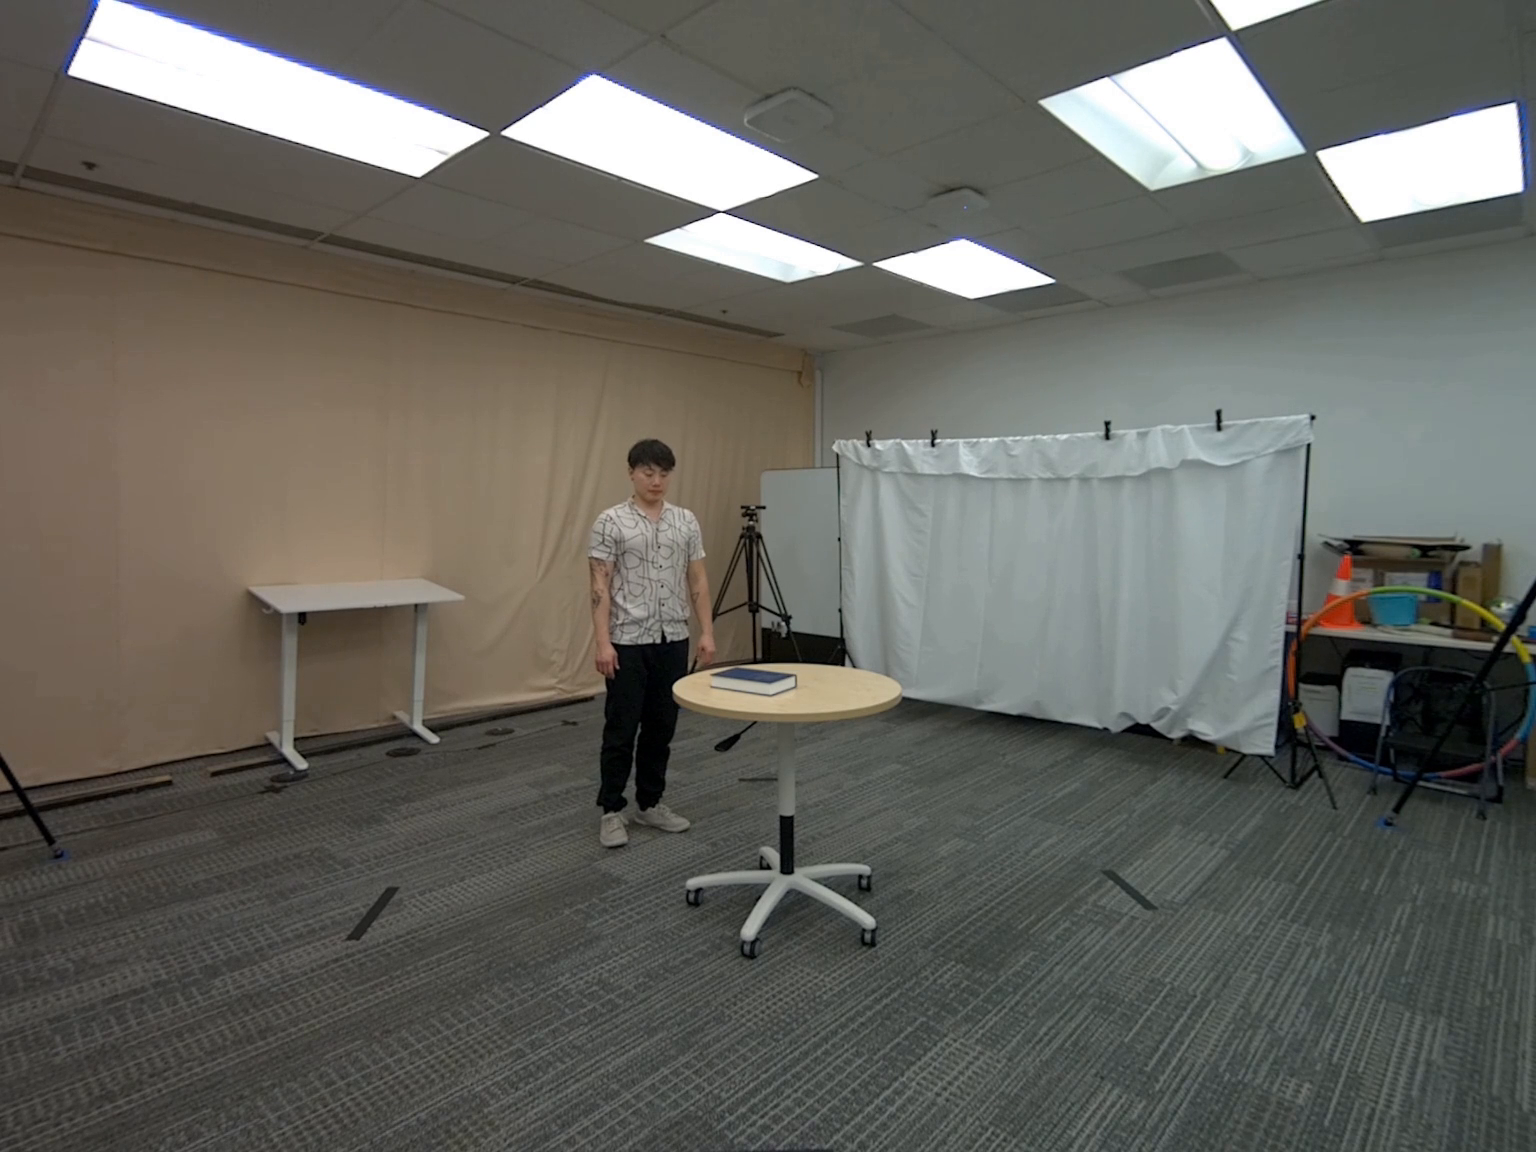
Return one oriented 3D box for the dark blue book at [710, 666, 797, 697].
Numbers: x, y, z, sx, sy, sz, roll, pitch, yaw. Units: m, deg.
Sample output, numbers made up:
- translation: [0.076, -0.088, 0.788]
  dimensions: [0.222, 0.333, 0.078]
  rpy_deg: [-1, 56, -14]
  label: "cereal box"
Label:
- translation: [-0.052, 0.352, 2.810]
  dimensions: [0.253, 0.045, 0.159]
  rpy_deg: [3, 6, 35]
  label: "dark blue book"
